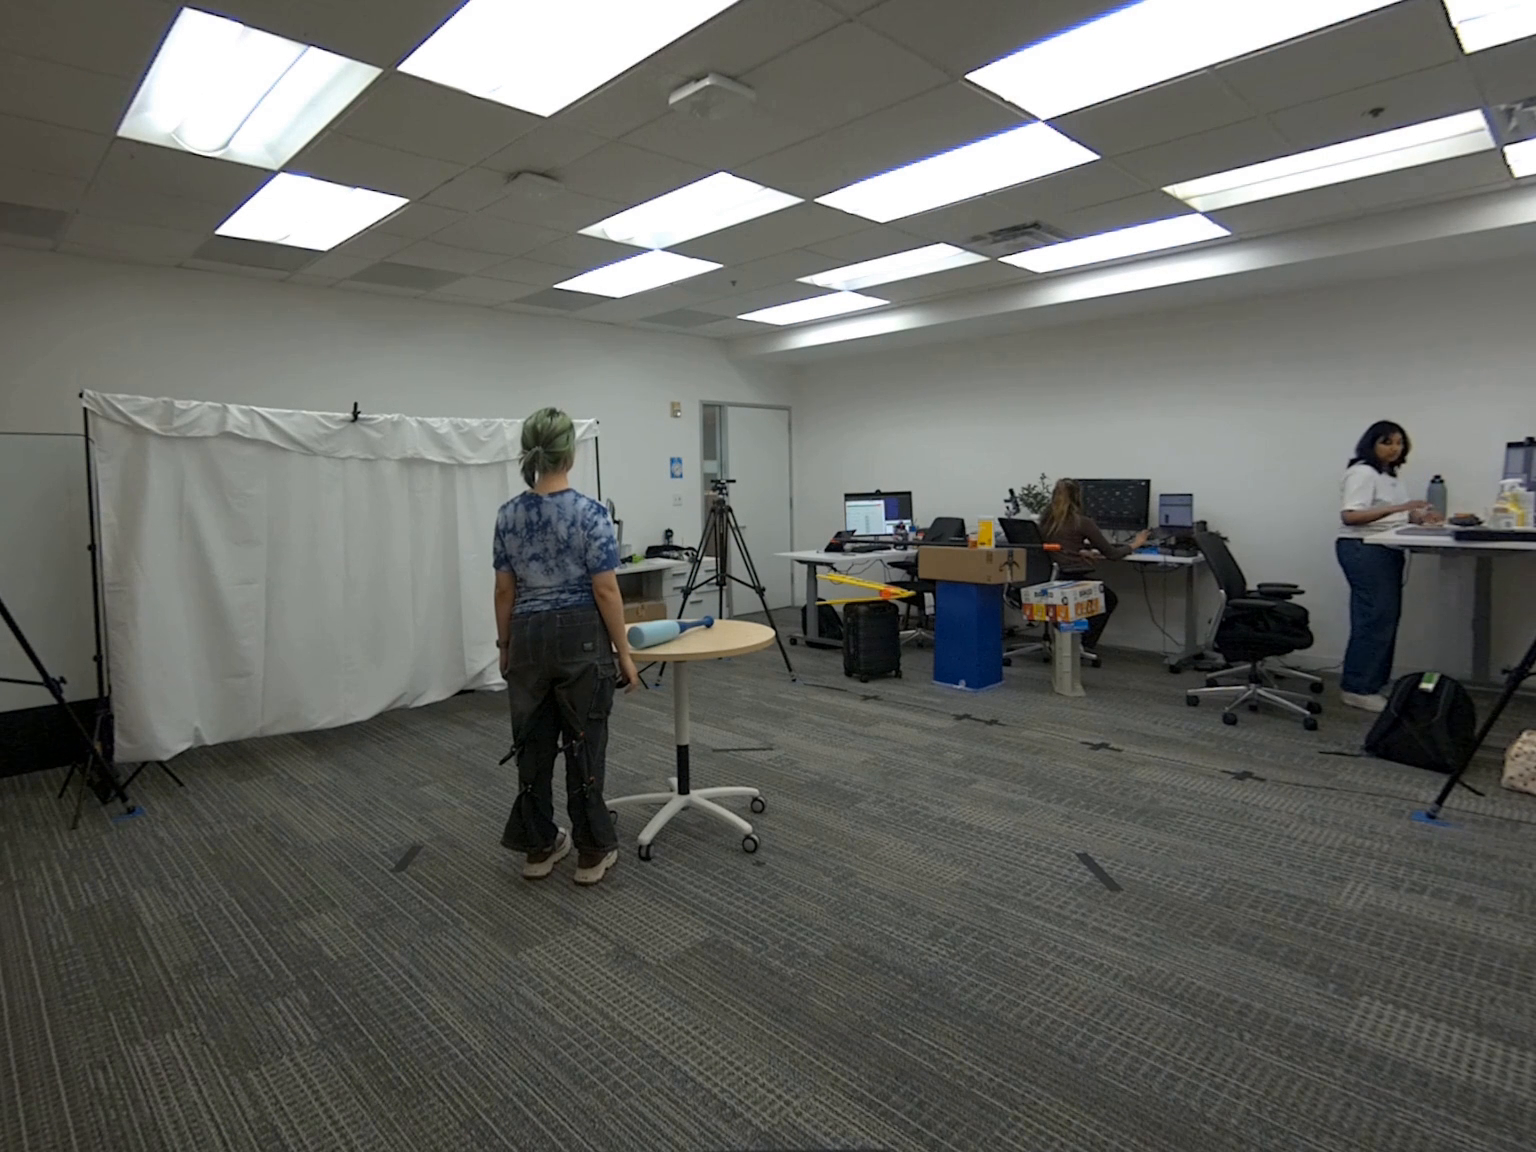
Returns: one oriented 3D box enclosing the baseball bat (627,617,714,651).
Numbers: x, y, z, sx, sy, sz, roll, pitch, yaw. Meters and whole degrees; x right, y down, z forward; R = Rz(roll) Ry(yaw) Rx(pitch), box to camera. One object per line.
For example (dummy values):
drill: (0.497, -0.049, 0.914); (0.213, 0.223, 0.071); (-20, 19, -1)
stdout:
baseball bat: (-0.363, 0.208, 3.334); (0.091, 0.089, 0.531); (1, 3, 26)
